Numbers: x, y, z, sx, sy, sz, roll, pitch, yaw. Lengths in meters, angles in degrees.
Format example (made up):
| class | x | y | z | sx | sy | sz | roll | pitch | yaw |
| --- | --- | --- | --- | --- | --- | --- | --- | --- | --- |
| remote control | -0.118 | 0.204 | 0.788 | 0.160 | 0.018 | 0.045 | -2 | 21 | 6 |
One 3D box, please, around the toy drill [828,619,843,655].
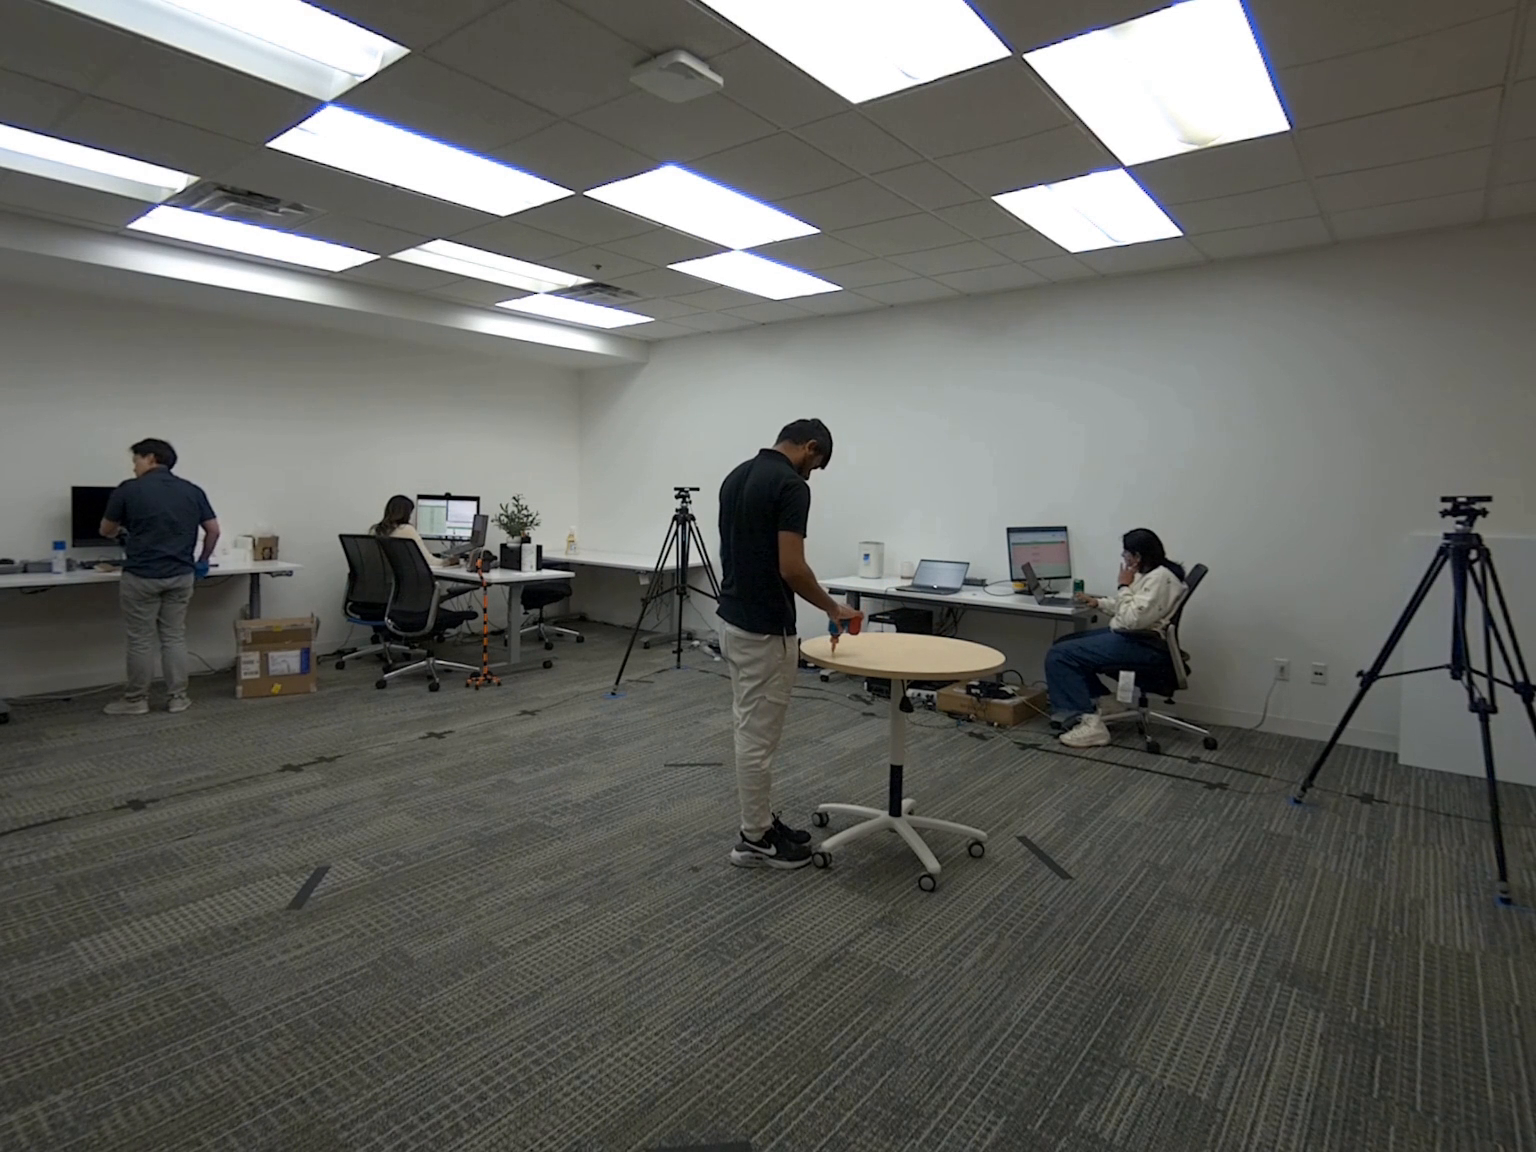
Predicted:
| class | x | y | z | sx | sy | sz | roll | pitch | yaw |
| --- | --- | --- | --- | --- | --- | --- | --- | --- | --- |
| toy drill | 0.268 | 0.208 | 3.156 | 0.059 | 0.170 | 0.150 | 8 | 2 | -29 |
